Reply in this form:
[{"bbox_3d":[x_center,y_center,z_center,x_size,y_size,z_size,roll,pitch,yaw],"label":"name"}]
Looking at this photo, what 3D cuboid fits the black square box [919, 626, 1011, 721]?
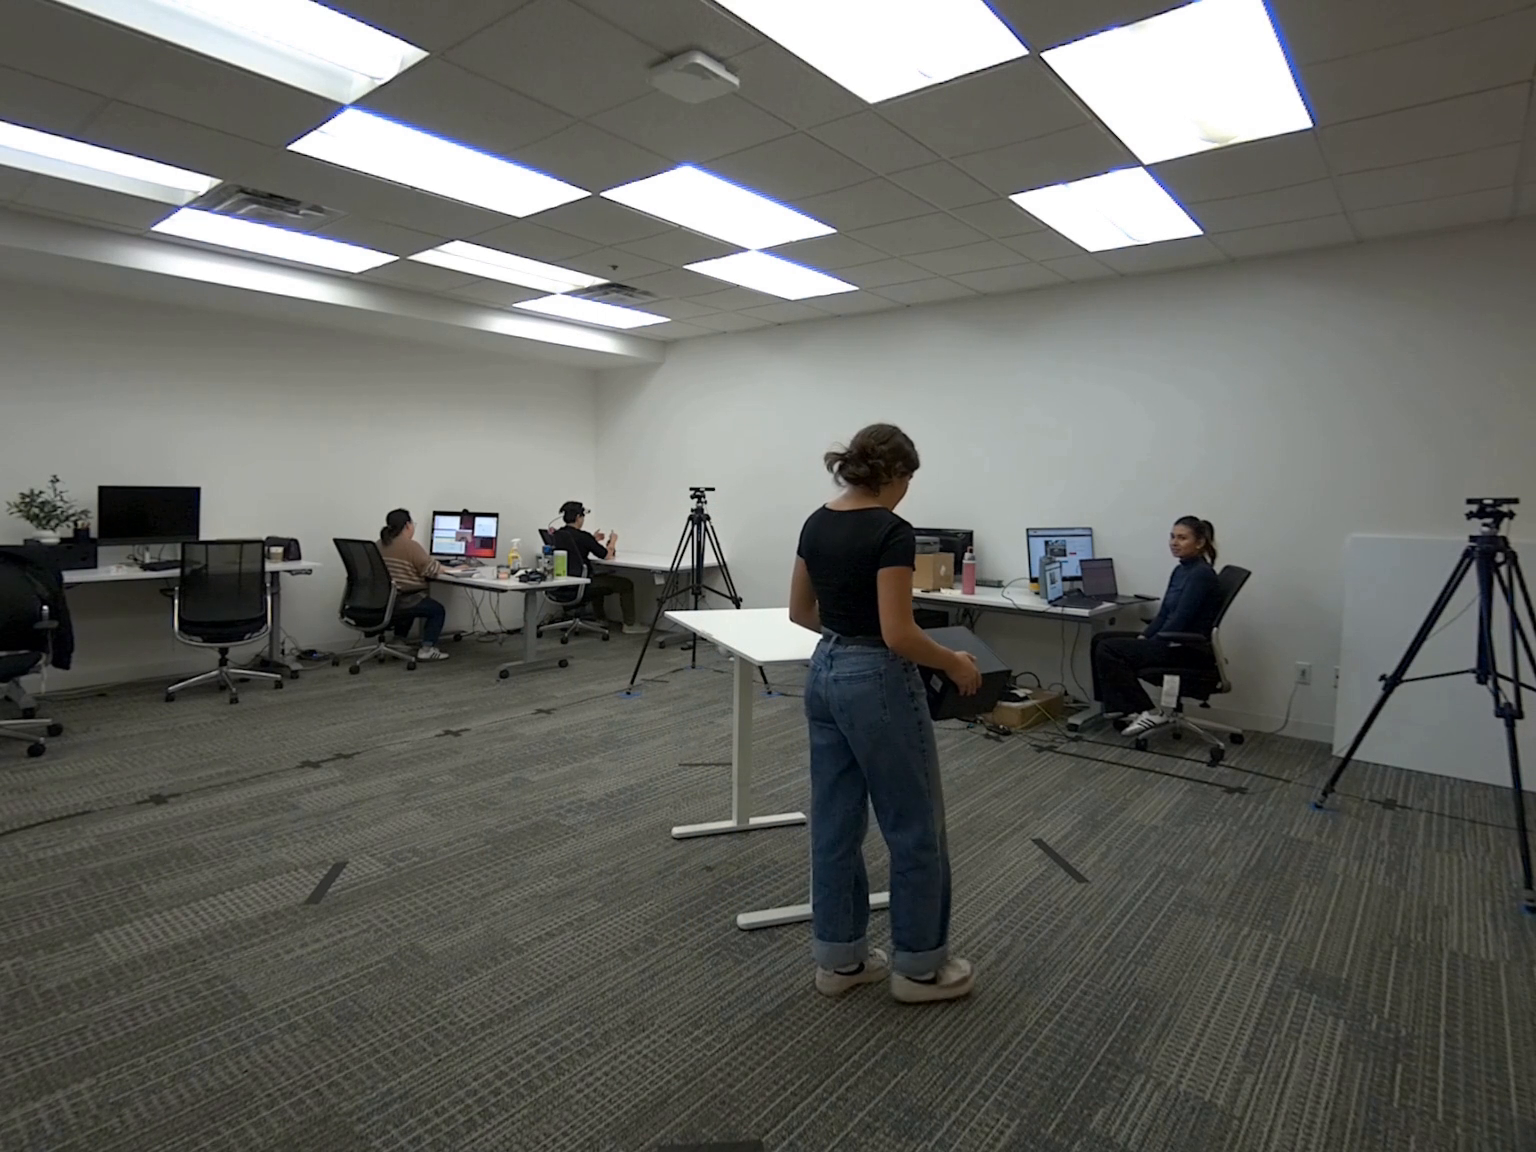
[{"bbox_3d":[0.518,0.274,2.444,0.222,0.153,0.226,-3,32,-29],"label":"black square box"}]
